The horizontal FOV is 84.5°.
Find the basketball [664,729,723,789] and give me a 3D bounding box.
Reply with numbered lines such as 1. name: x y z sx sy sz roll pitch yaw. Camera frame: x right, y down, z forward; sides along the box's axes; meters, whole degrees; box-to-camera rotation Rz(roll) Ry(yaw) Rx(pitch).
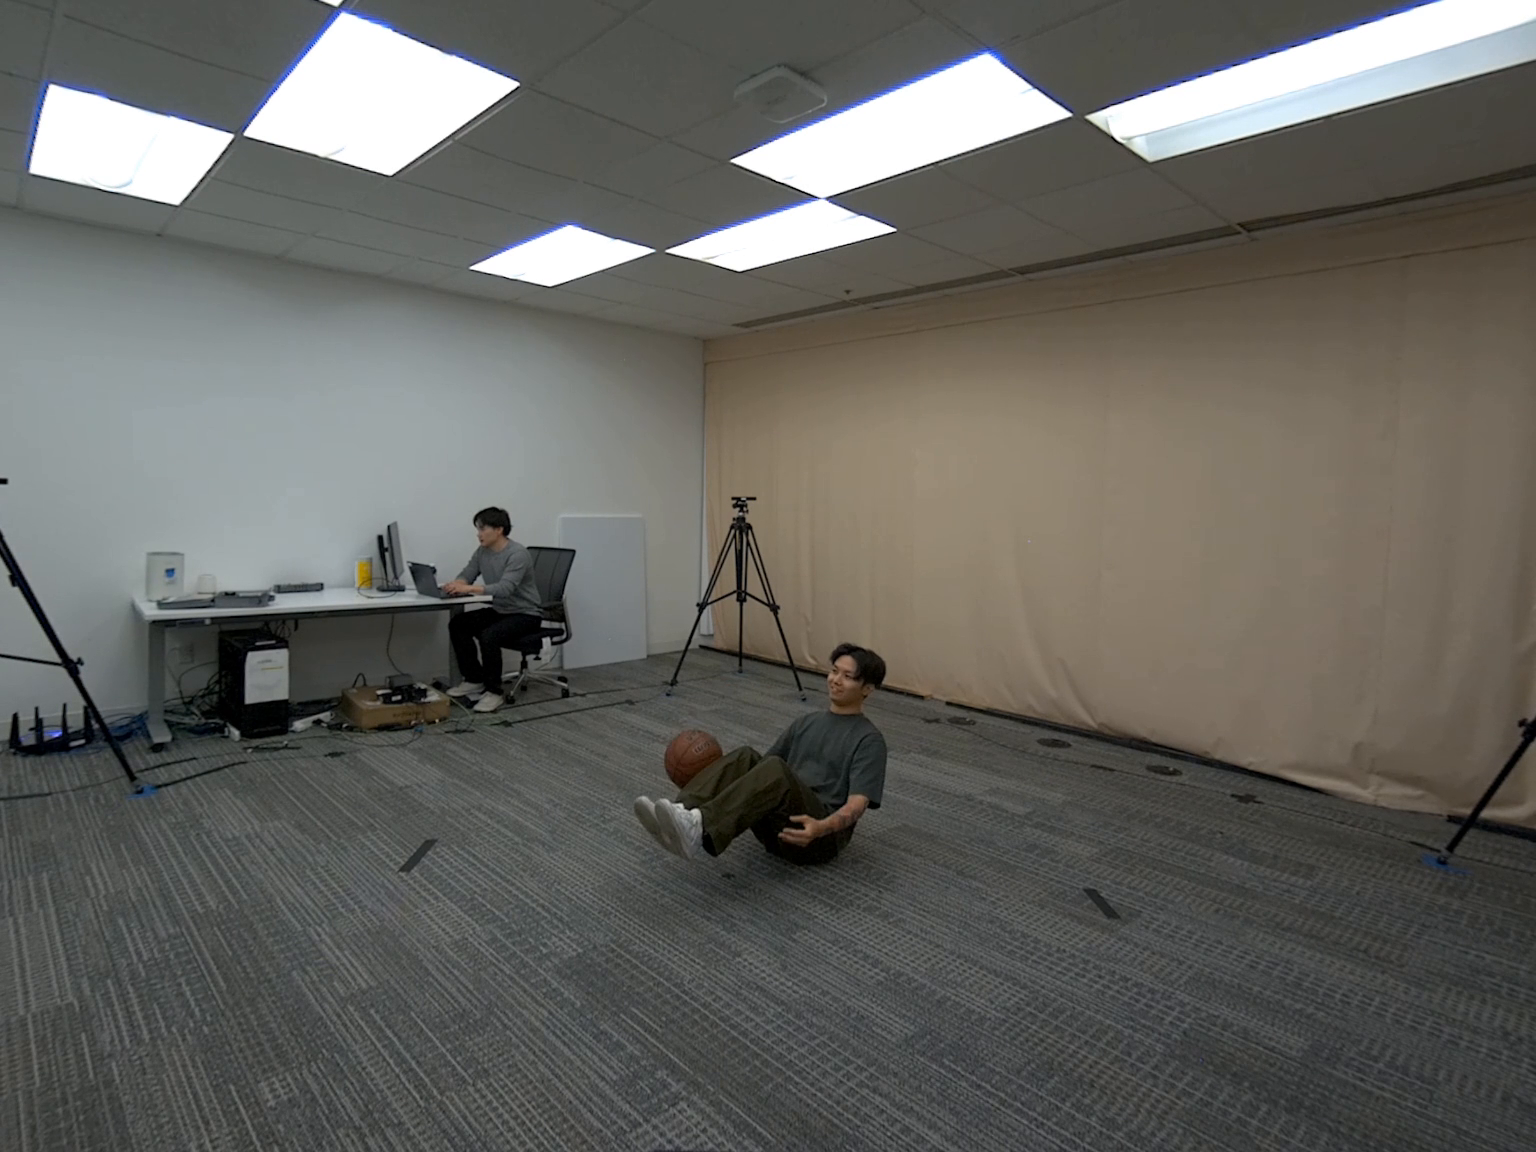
1. basketball: -0.294 0.733 3.361 0.236 0.235 0.237 1 4 -1
